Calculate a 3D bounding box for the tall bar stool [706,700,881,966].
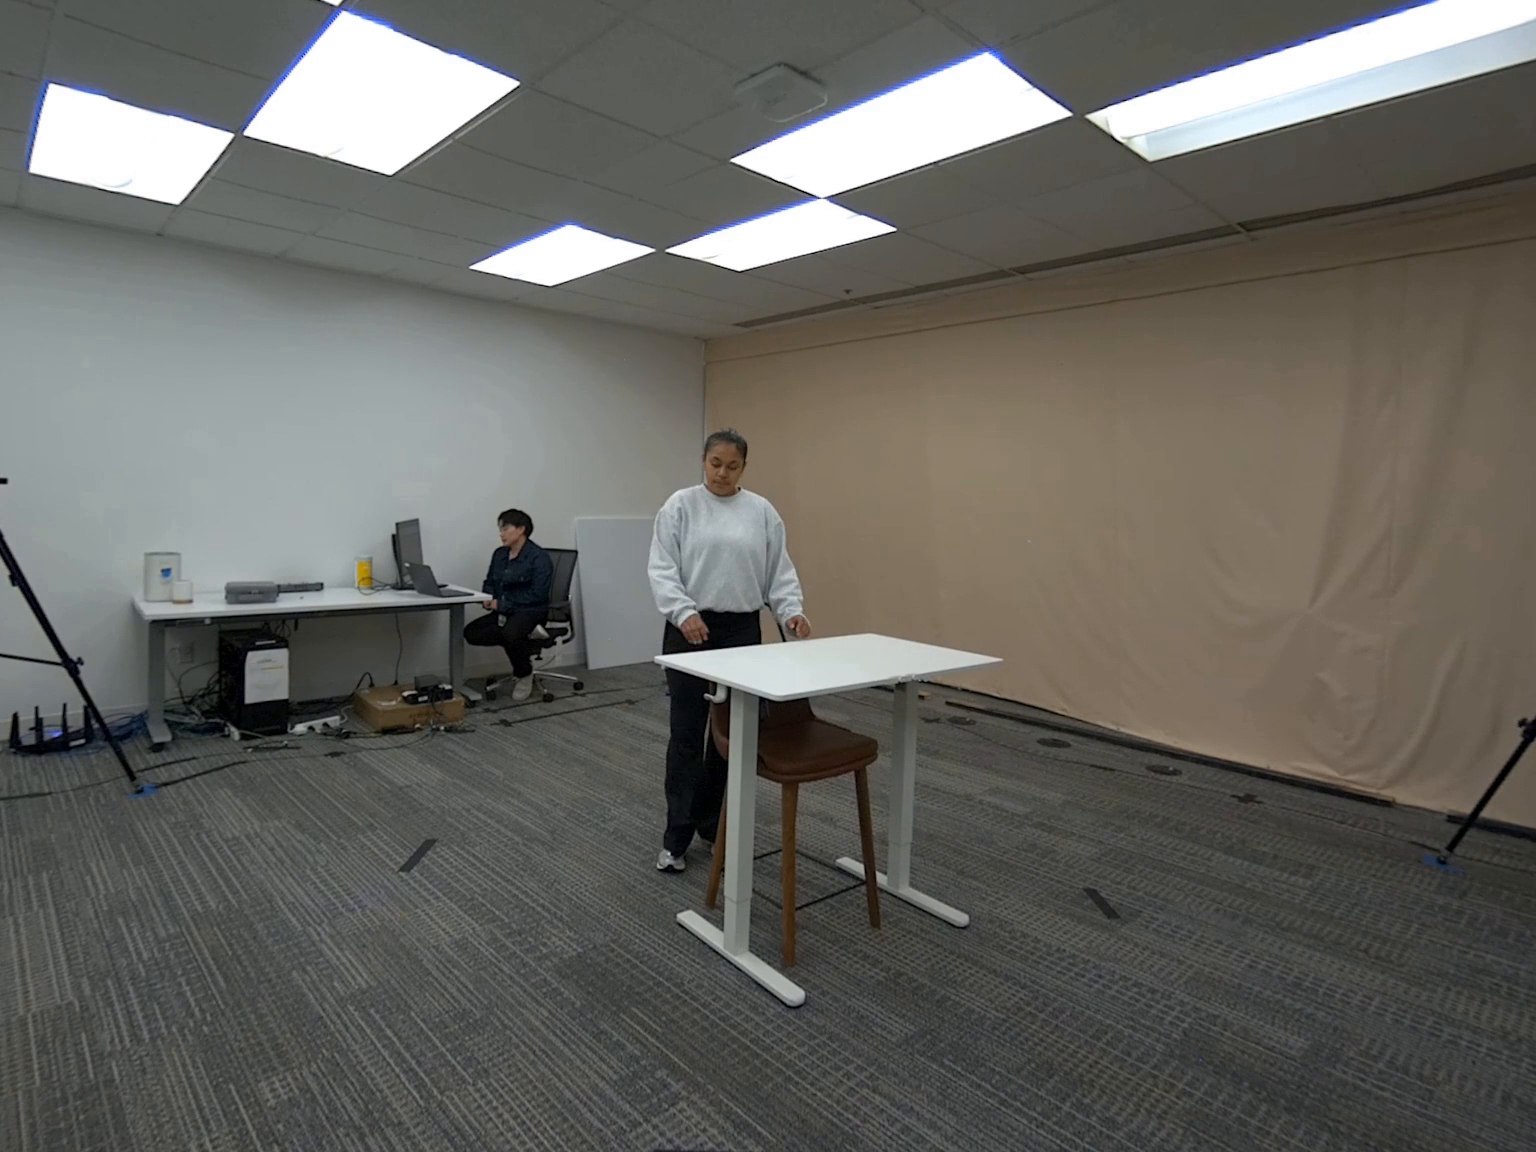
[{"bbox_3d":[0.072,0.705,2.792,0.446,0.888,0.479,-2,3,-39],"label":"tall bar stool"}]
